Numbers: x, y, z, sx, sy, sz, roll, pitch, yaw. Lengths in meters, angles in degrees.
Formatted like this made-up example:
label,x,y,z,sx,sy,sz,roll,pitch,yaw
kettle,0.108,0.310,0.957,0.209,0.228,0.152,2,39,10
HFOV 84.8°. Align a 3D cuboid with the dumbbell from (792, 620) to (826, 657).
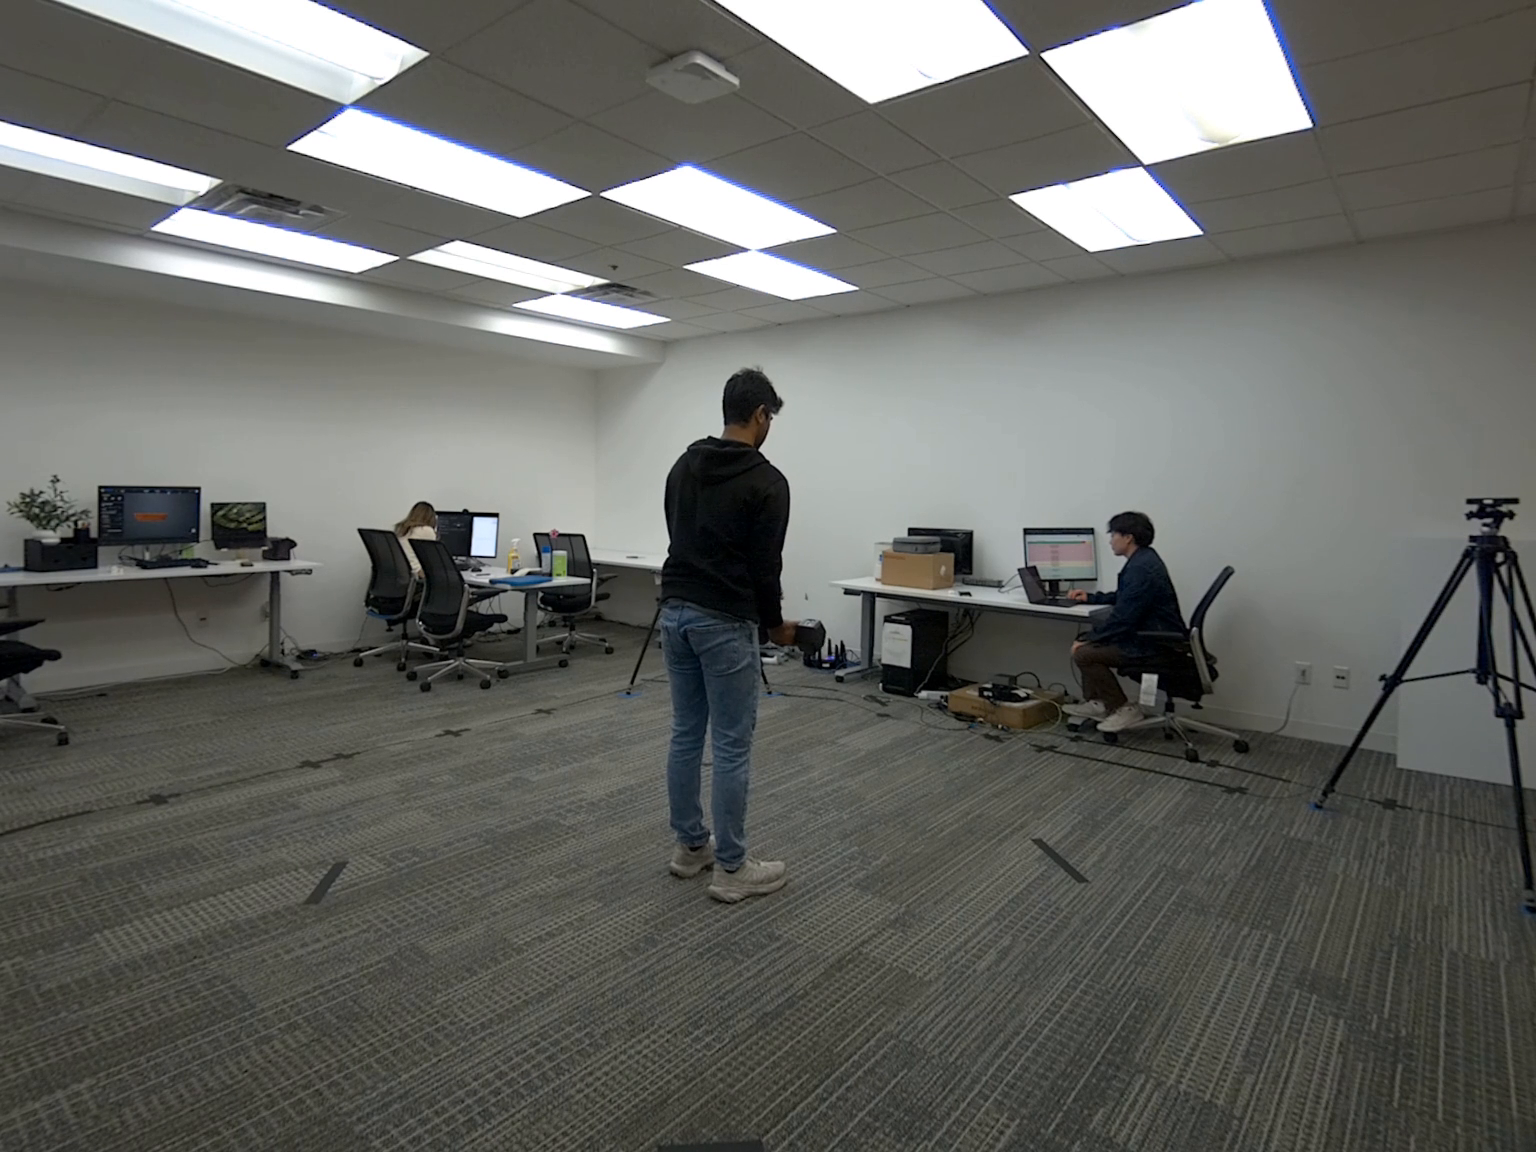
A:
label,x,y,z,sx,sy,sz,roll,pitch,yaw
dumbbell,0.049,0.196,3.116,0.302,0.110,0.118,5,-35,31
